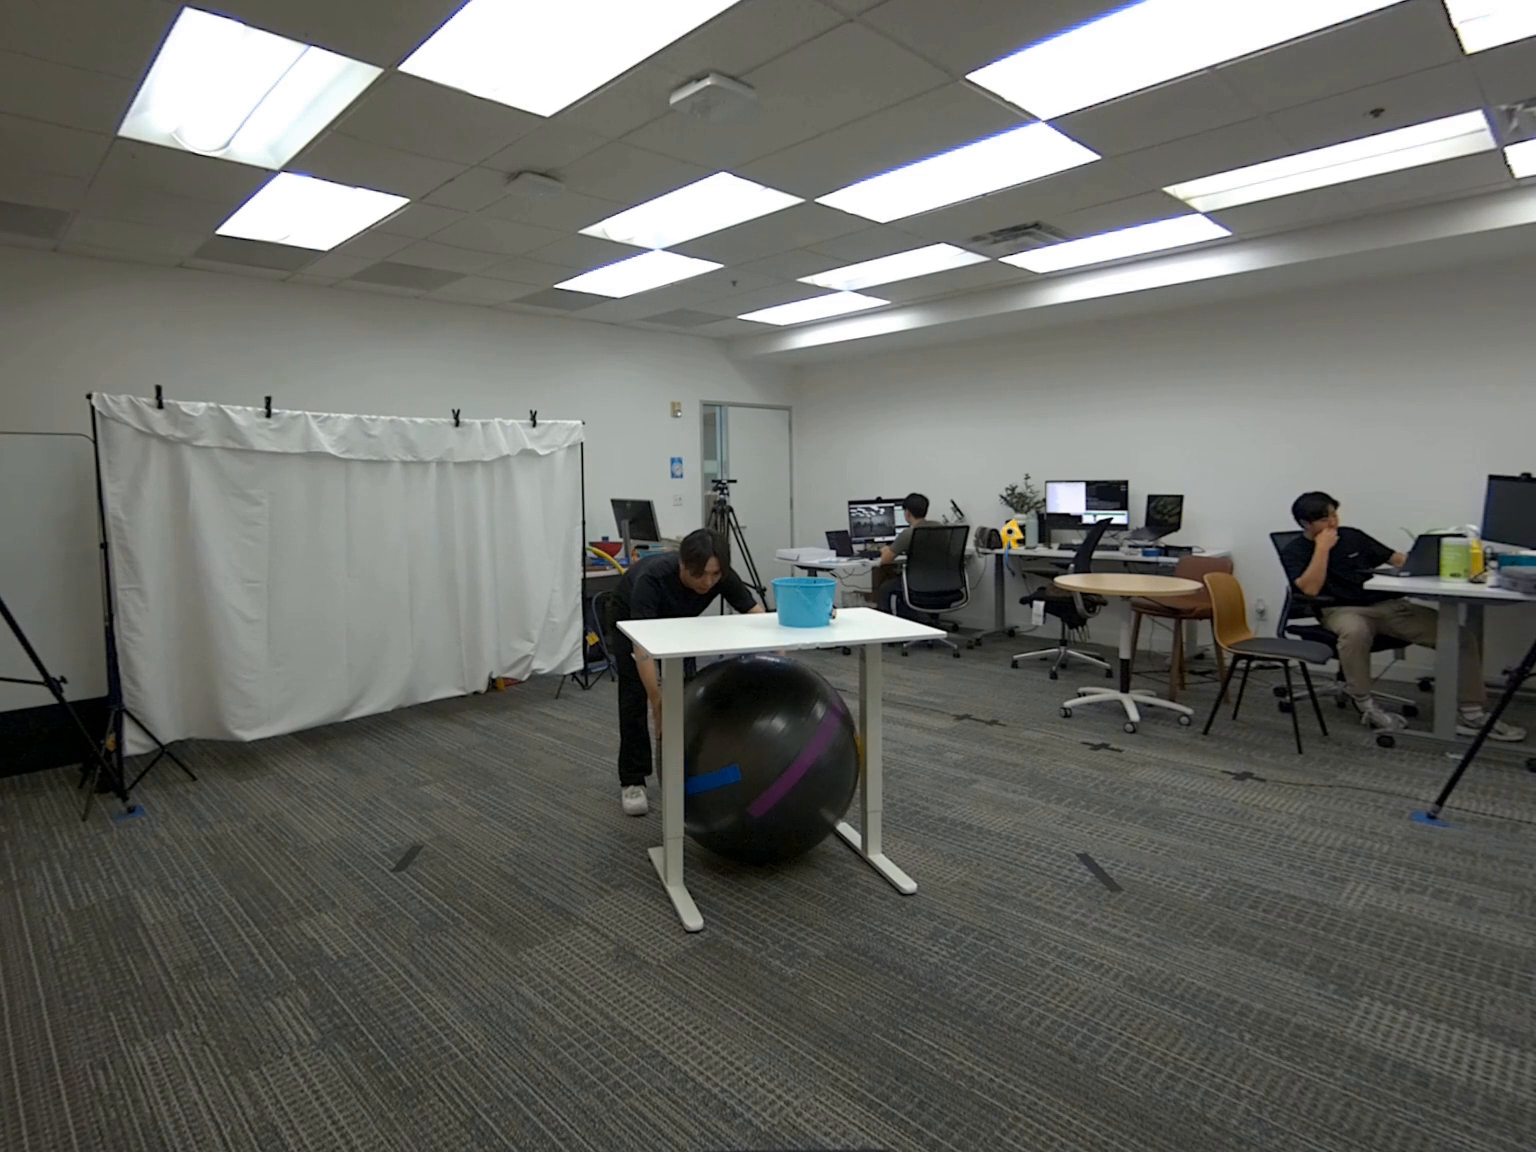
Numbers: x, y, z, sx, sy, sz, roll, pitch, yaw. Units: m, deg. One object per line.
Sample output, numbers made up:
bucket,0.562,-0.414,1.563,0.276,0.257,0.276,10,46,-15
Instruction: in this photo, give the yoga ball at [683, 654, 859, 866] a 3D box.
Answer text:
yoga ball,-0.039,0.672,3.189,0.757,0.755,0.762,-1,5,-2
